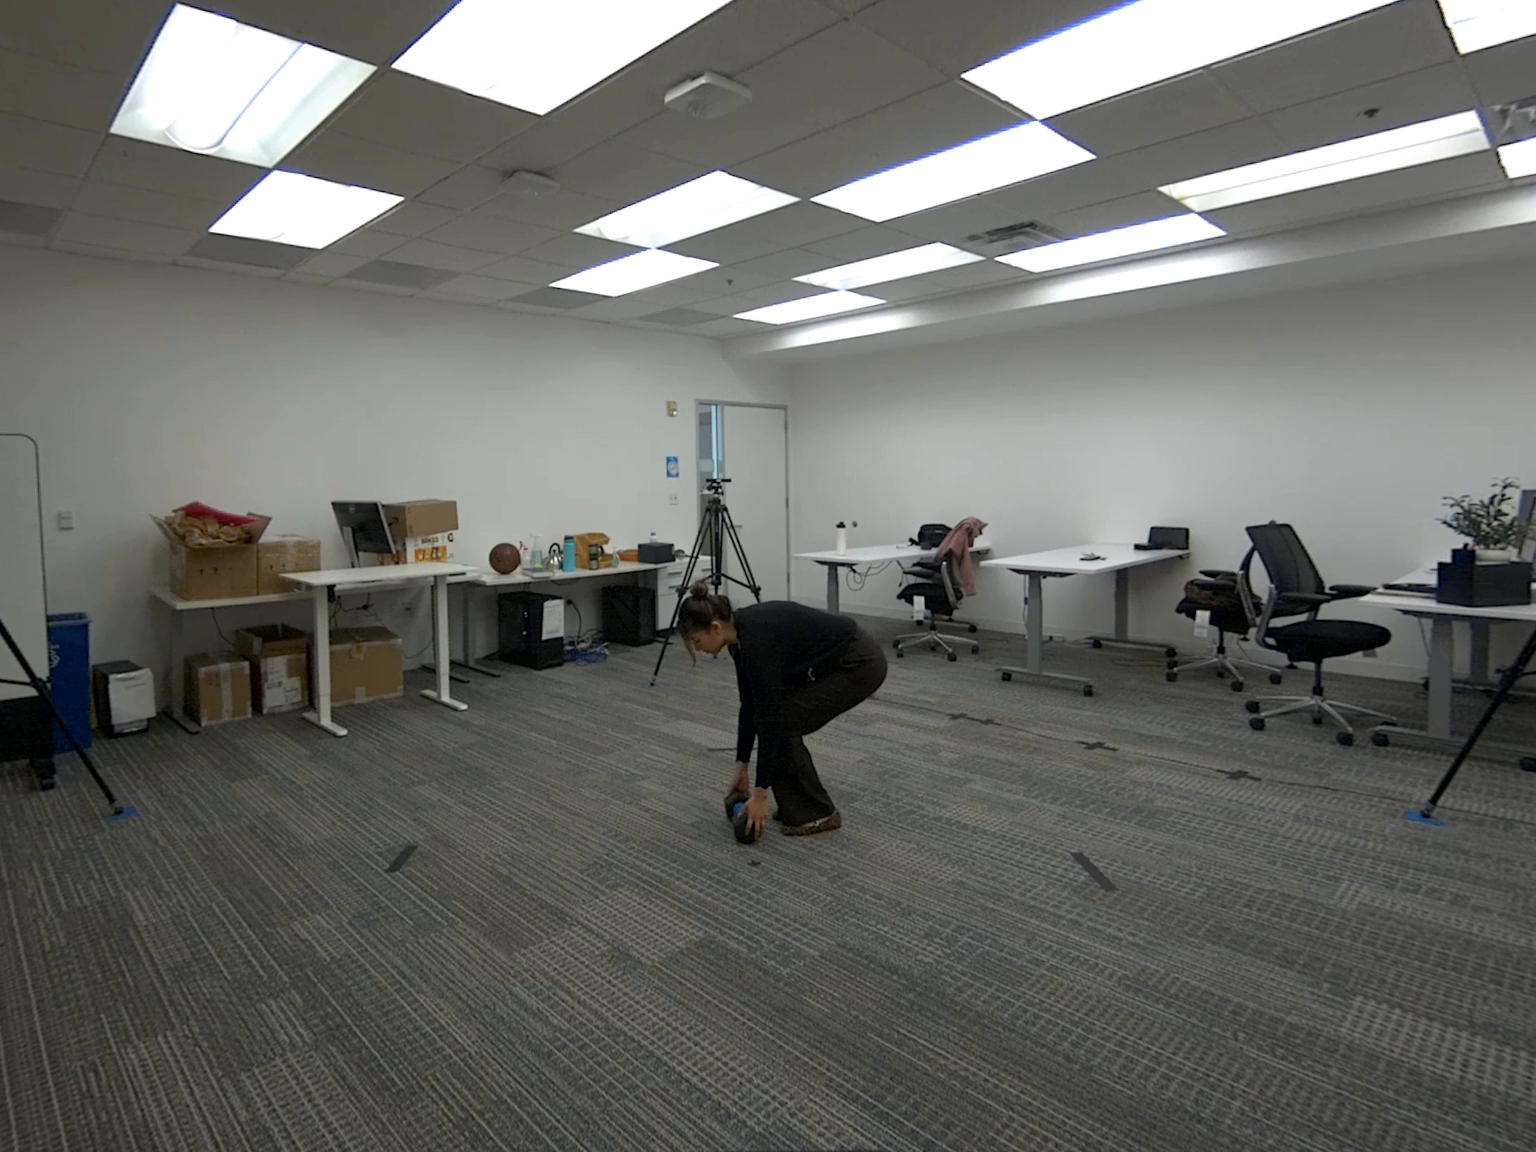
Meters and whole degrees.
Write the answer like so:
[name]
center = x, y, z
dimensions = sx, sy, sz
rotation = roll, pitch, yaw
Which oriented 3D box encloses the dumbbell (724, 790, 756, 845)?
[dumbbell]
center = -0.085, 0.966, 3.407
dimensions = 0.108, 0.122, 0.297
rotation = -8, 7, -7
